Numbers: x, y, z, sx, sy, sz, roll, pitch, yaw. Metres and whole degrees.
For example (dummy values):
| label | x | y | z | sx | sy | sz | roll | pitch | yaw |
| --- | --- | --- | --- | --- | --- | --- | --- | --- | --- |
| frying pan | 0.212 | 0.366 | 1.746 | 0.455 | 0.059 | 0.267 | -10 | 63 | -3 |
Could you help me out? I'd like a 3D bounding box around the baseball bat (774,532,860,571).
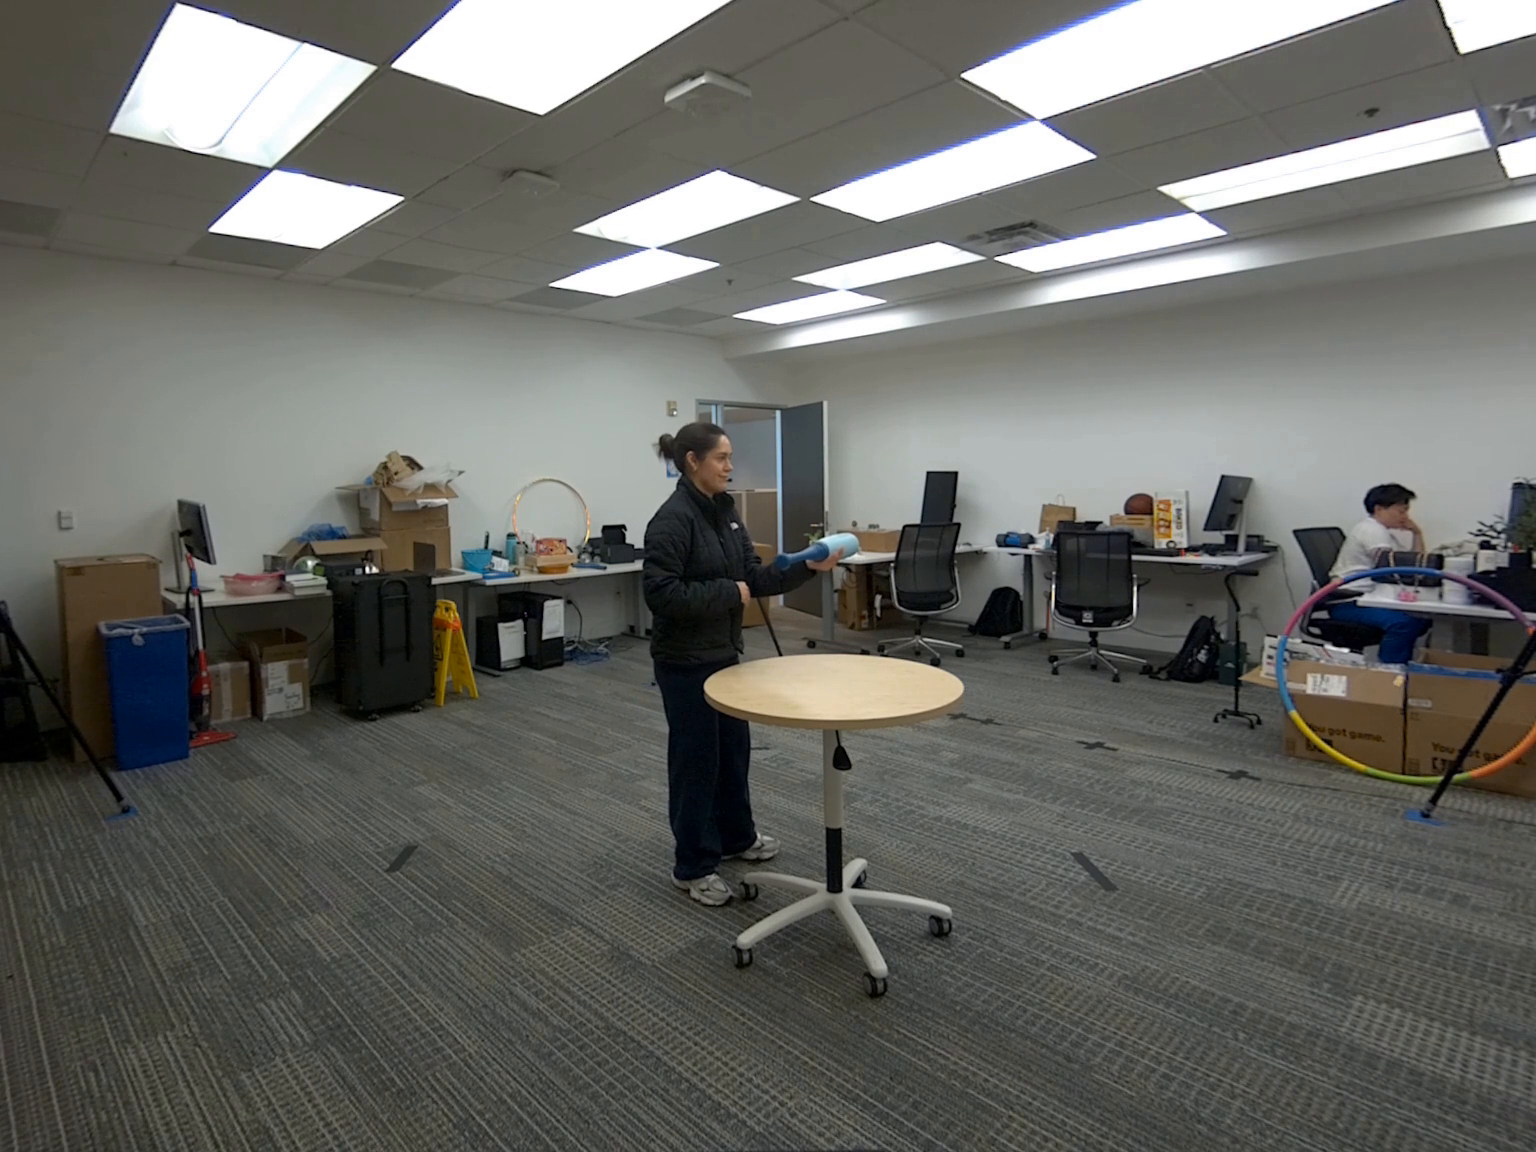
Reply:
| label | x | y | z | sx | sy | sz | roll | pitch | yaw |
| --- | --- | --- | --- | --- | --- | --- | --- | --- | --- |
| baseball bat | 0.166 | -0.077 | 2.806 | 0.091 | 0.088 | 0.532 | 2 | 8 | 29 |
